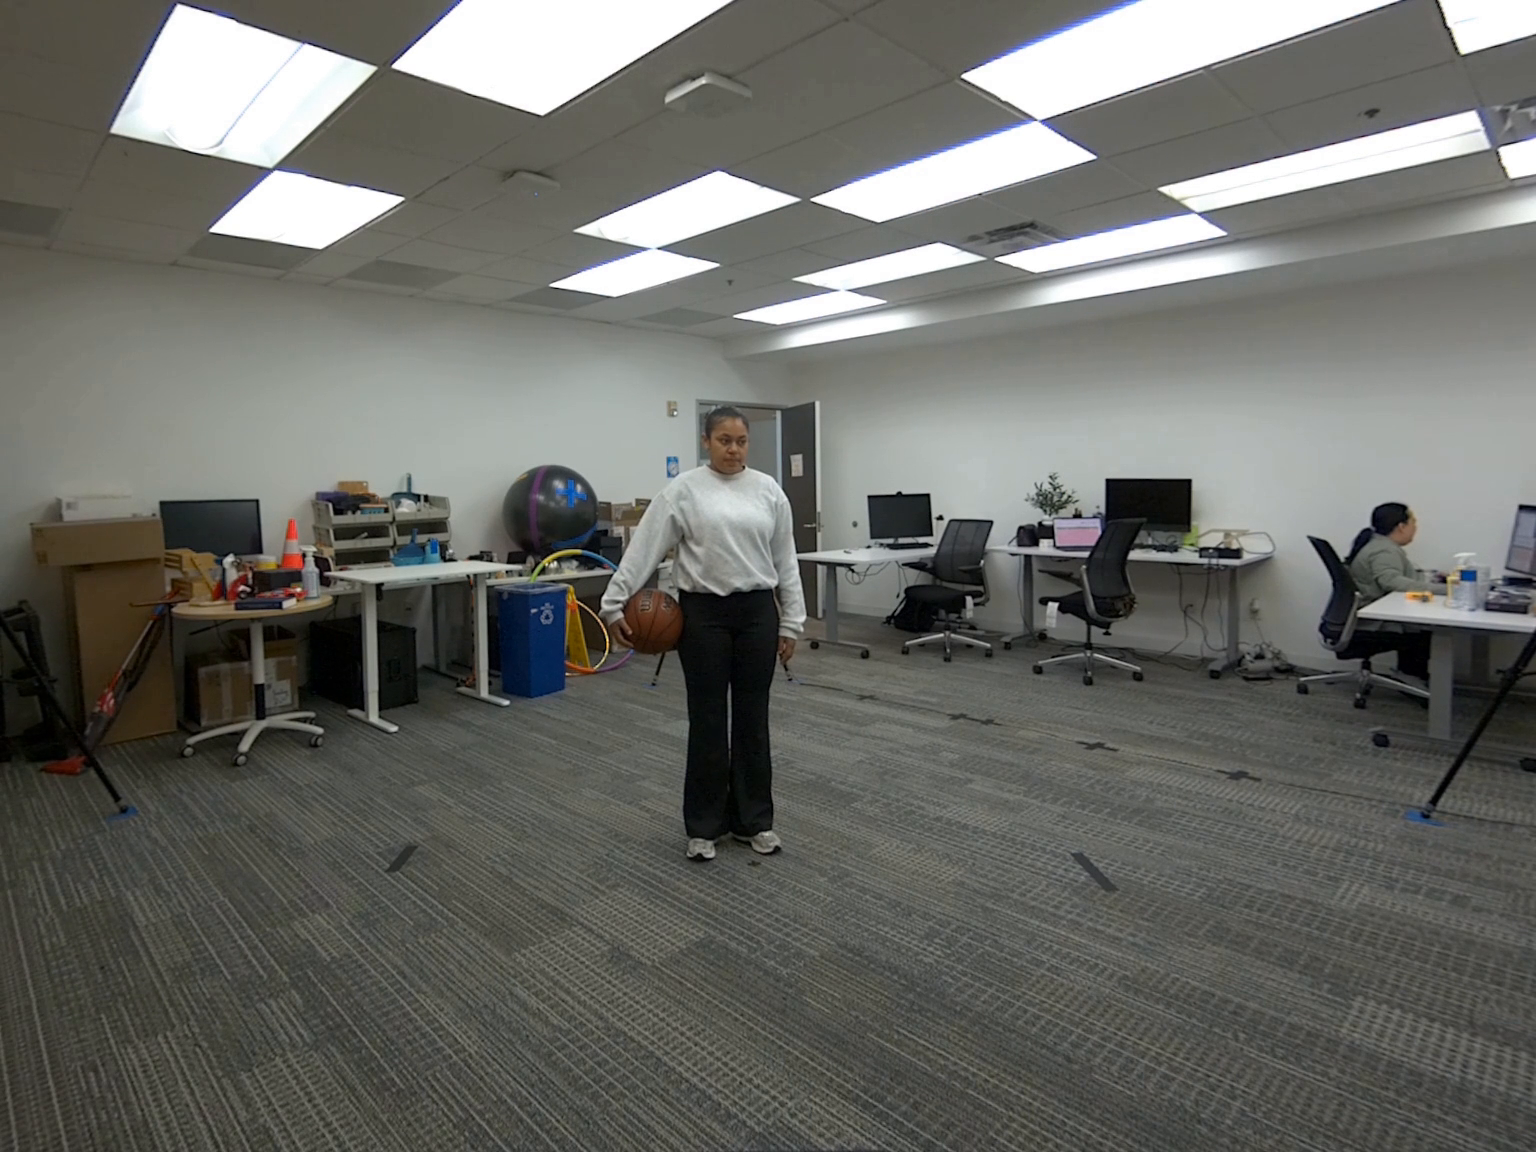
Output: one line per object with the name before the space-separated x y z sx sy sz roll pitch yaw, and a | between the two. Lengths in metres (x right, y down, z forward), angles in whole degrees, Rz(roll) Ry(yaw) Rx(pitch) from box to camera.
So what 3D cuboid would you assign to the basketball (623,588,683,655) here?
basketball | -0.426 0.163 3.096 0.236 0.235 0.237 -1 5 -2
